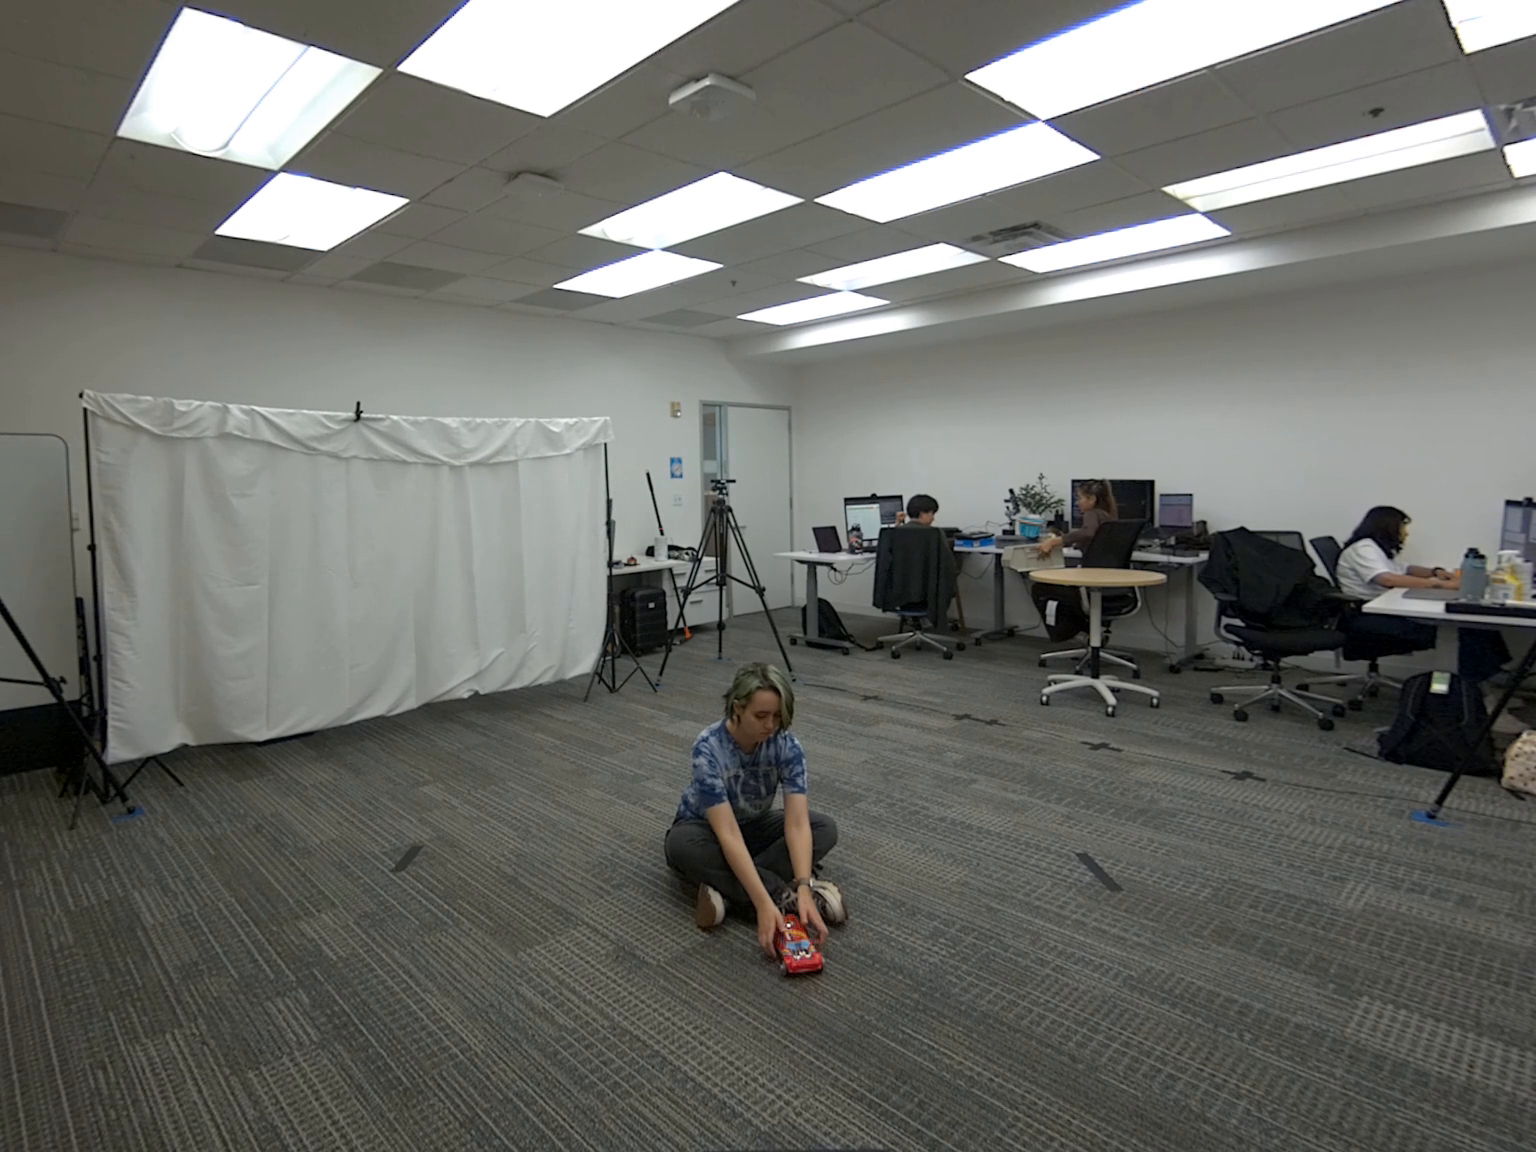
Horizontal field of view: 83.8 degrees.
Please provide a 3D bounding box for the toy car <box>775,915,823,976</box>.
[{"bbox_3d":[0.079,1.088,2.502,0.129,0.082,0.260,-4,16,-12],"label":"toy car"}]
